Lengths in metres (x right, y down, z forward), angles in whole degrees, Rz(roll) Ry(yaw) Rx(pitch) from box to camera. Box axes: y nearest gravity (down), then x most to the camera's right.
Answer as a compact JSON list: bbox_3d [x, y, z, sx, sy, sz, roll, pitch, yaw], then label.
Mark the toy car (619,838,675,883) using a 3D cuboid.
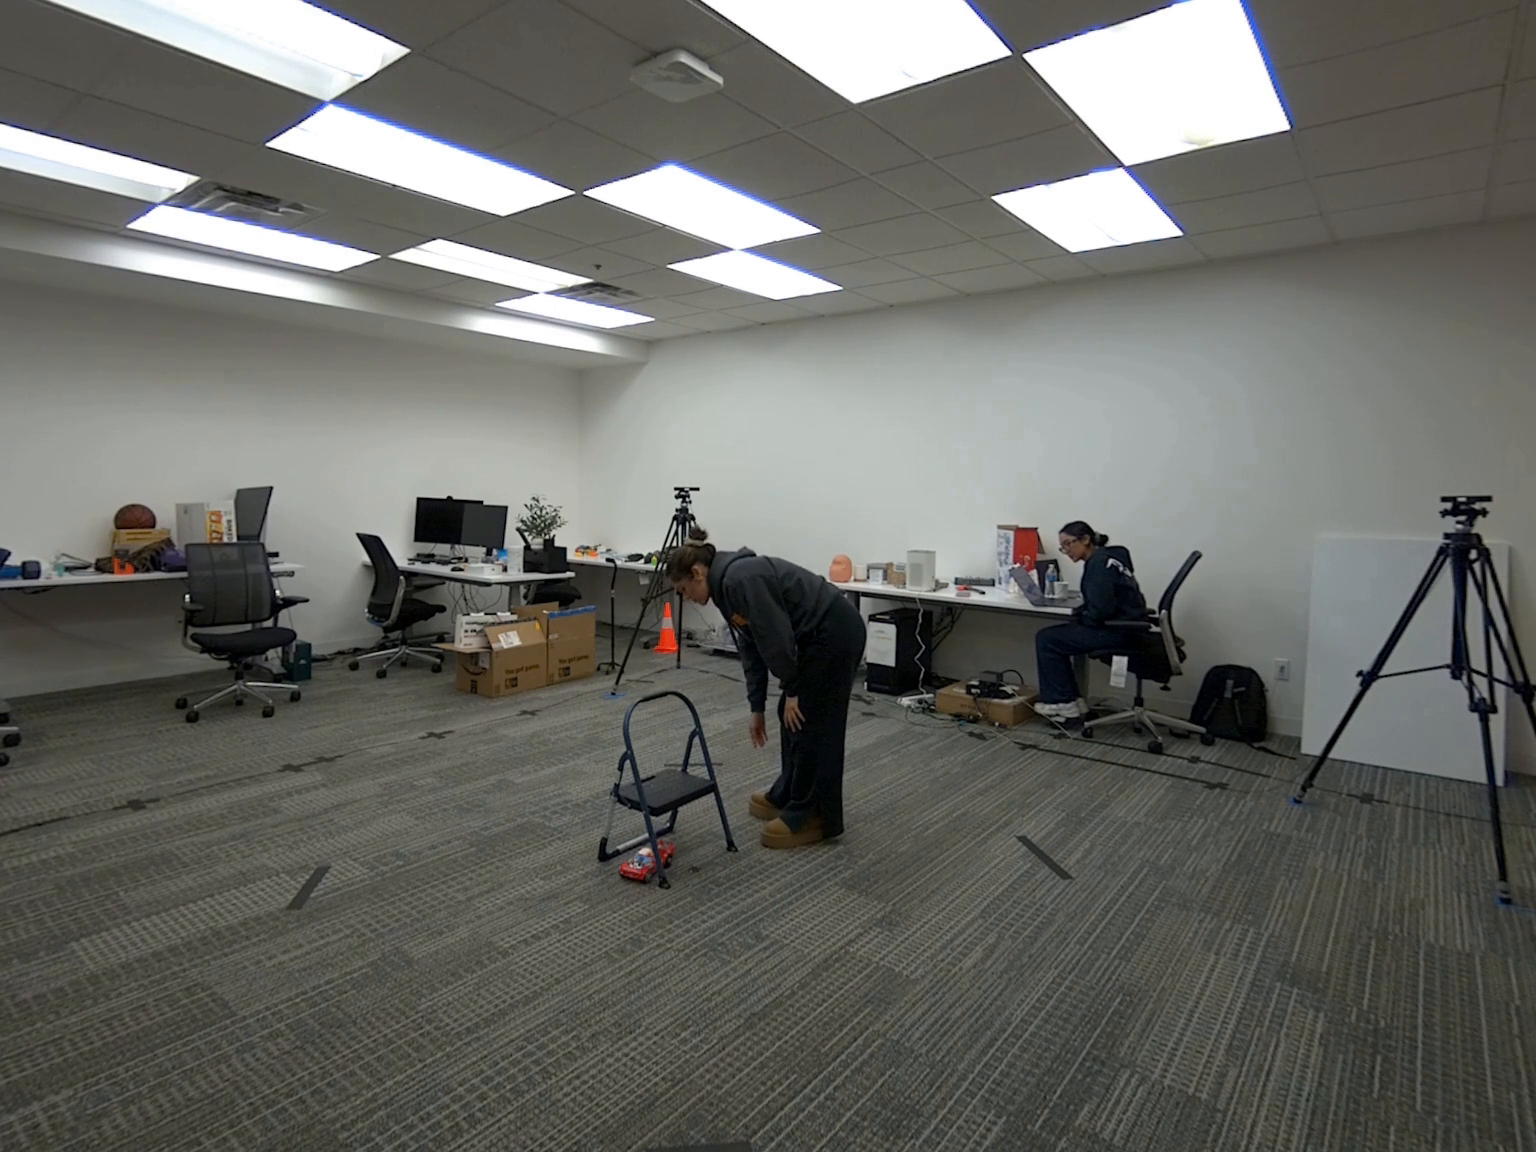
[{"bbox_3d":[-0.428,1.033,3.099,0.134,0.082,0.251,2,17,25],"label":"toy car"}]
